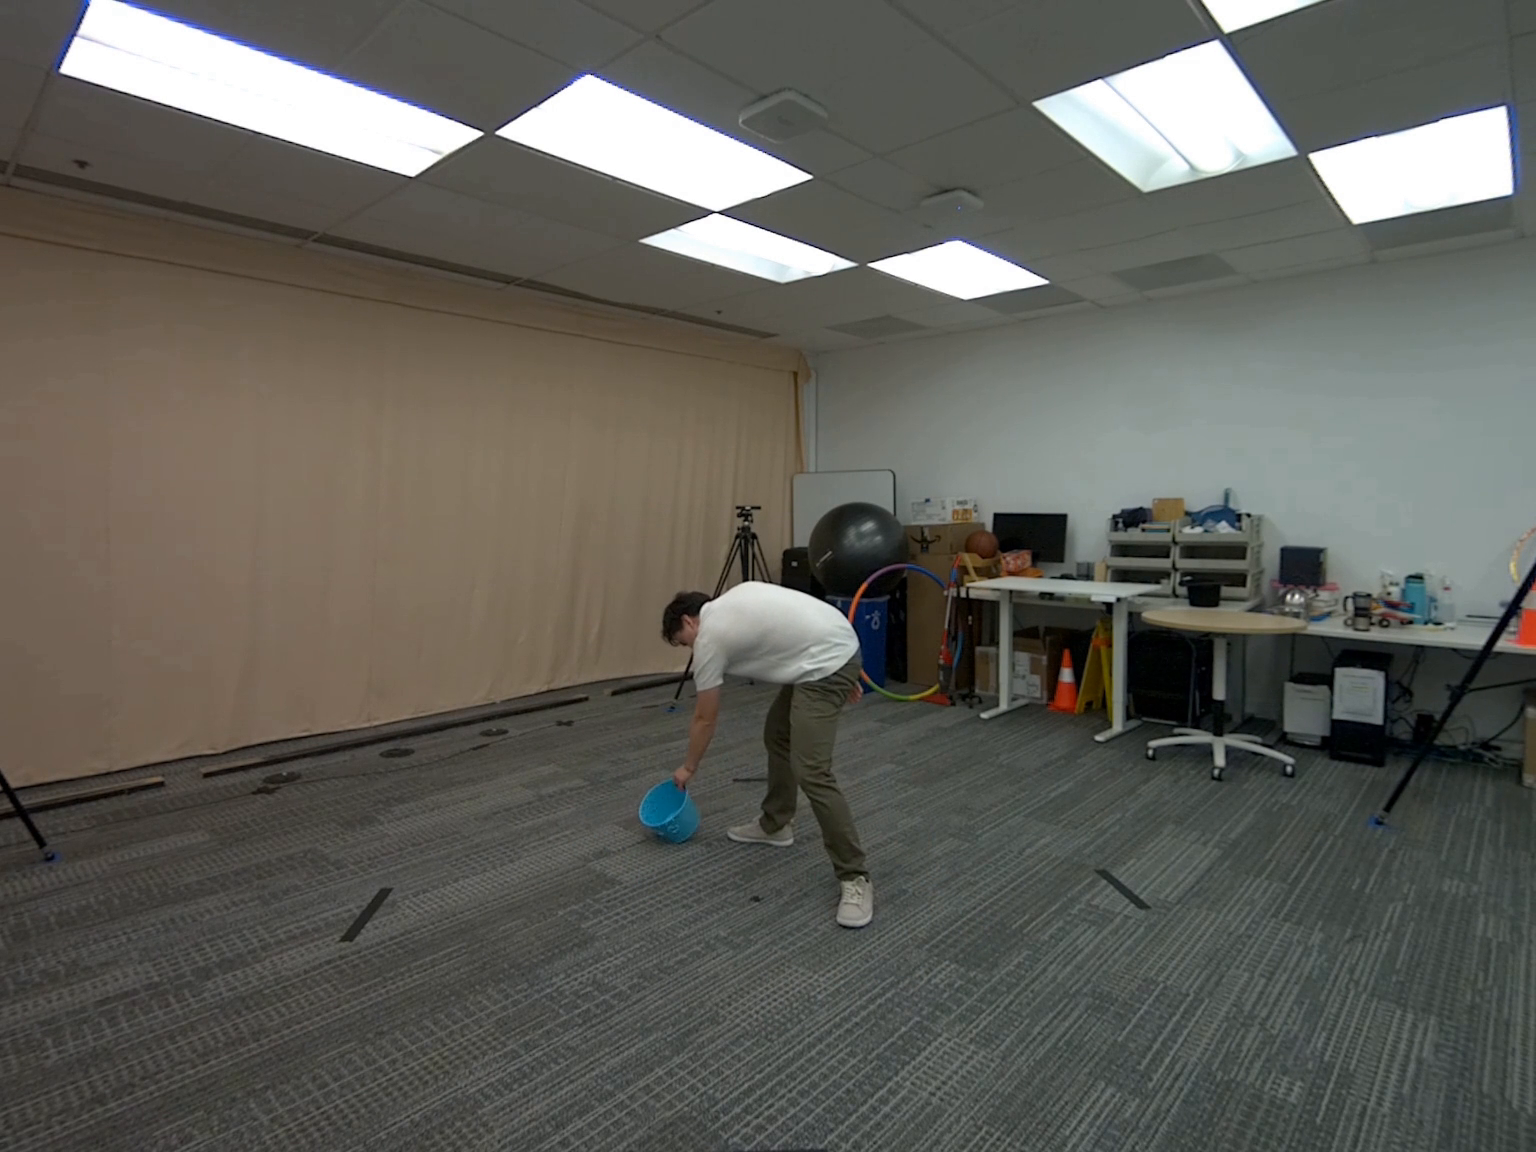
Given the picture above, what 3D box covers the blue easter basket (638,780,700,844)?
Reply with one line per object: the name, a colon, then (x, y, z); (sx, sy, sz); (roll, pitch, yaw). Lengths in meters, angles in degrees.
blue easter basket: (-0.389, 0.992, 3.493); (0.246, 0.152, 0.248); (-24, 28, 11)
